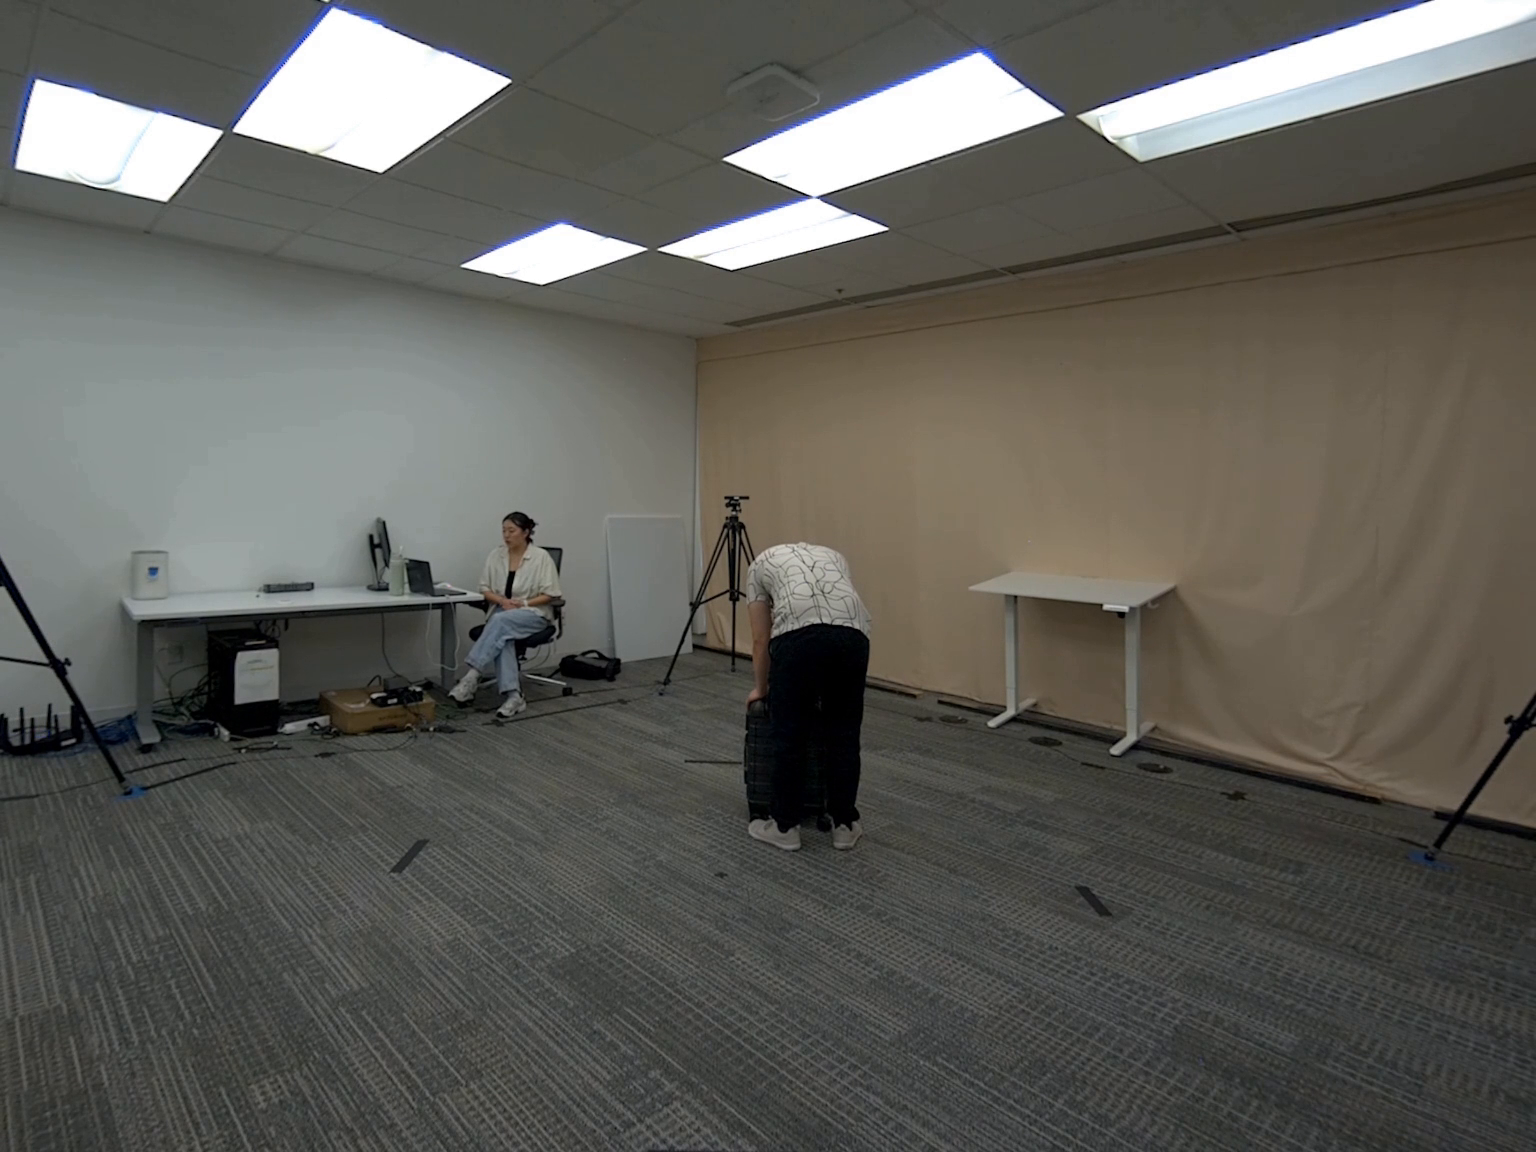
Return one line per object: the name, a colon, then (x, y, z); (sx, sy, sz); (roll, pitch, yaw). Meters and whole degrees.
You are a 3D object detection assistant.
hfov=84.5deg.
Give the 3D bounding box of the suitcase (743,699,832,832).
suitcase: (0.083, 0.788, 3.686); (0.377, 0.549, 0.247); (1, 0, 6)
